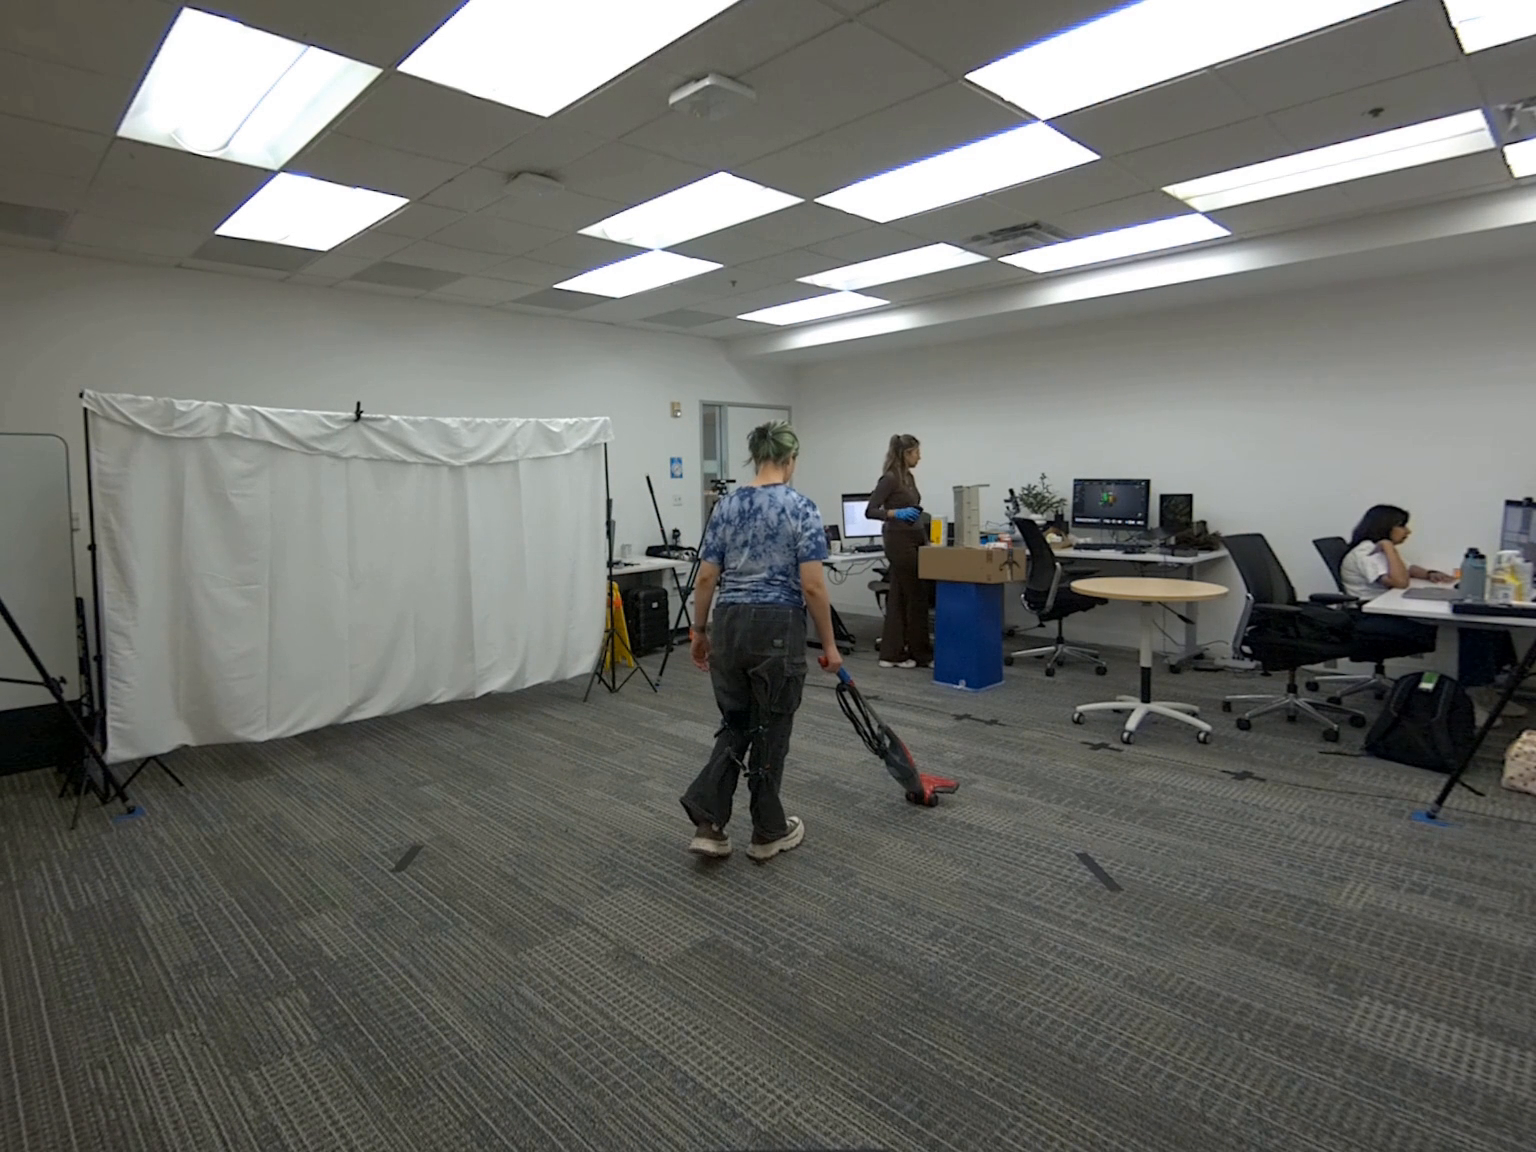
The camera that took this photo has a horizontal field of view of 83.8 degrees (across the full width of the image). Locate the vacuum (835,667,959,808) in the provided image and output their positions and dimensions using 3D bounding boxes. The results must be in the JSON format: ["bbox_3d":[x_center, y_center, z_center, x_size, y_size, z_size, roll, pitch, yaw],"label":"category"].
[{"bbox_3d":[0.437,0.626,3.399,0.260,0.145,1.010,2,-37,42],"label":"vacuum"}]
